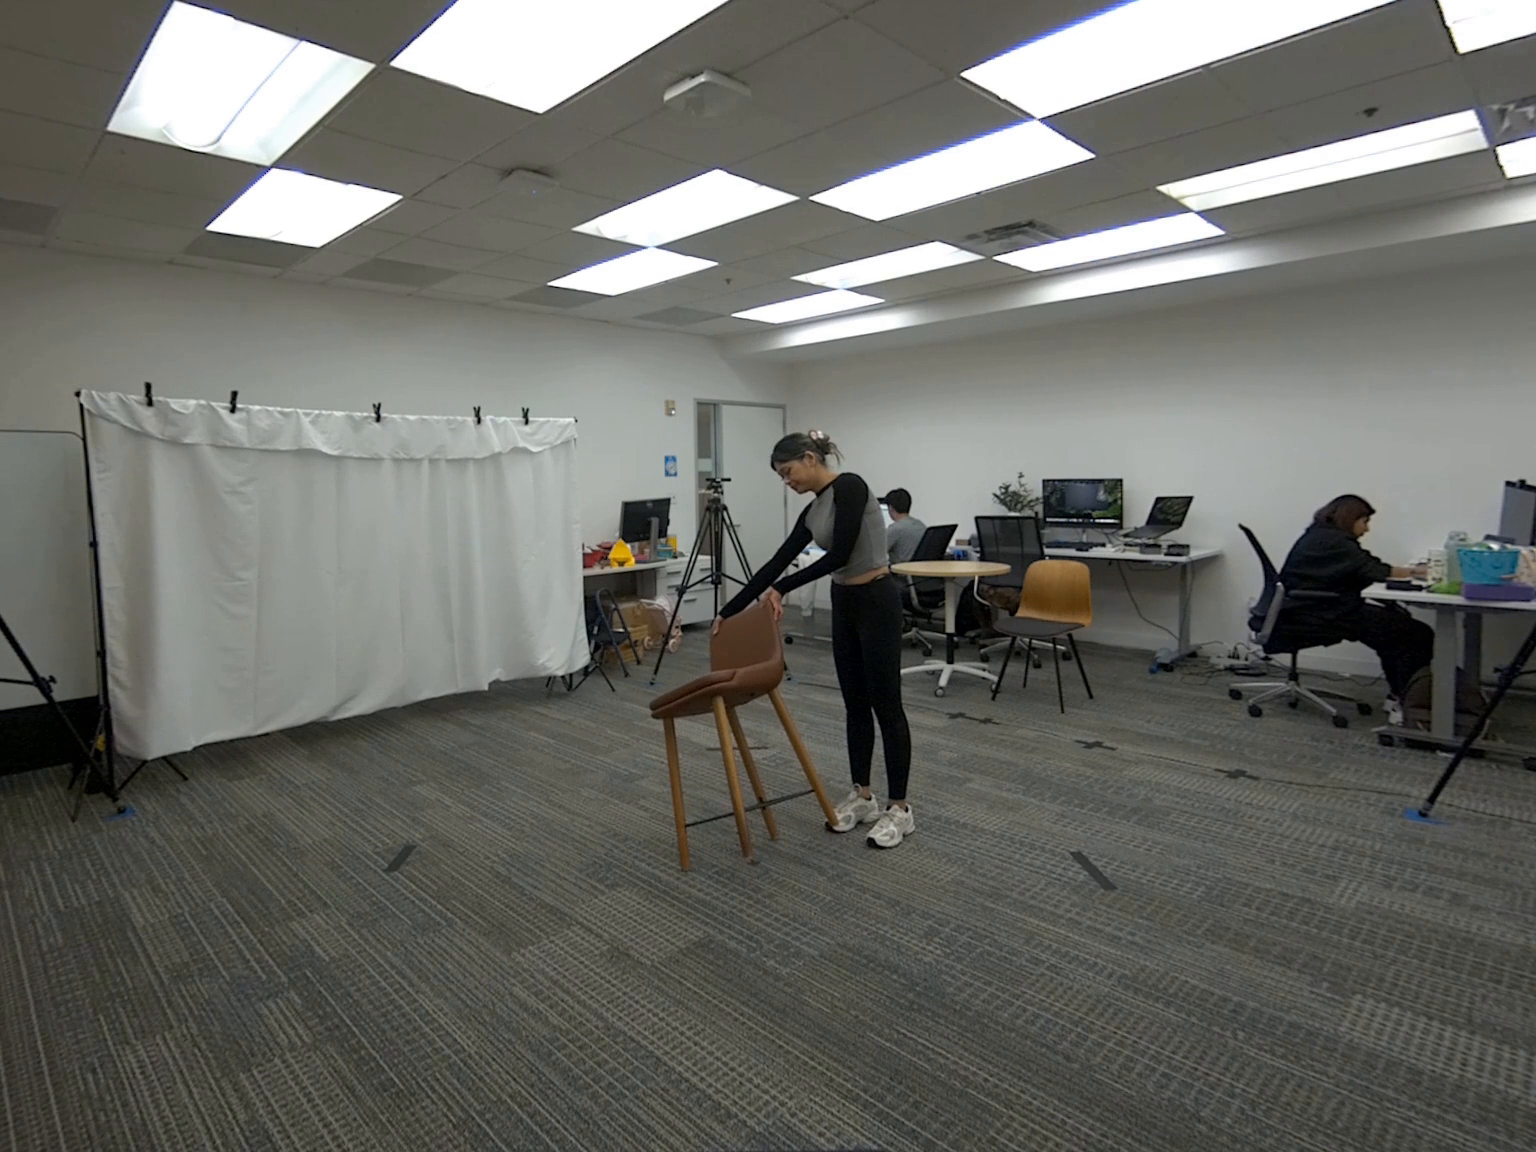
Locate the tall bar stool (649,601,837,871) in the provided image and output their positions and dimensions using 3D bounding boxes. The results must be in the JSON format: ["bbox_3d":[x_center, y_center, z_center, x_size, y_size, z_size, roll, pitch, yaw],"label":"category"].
[{"bbox_3d":[-0.132,0.557,3.175,0.454,0.906,0.461,-1,-21,-40],"label":"tall bar stool"}]
